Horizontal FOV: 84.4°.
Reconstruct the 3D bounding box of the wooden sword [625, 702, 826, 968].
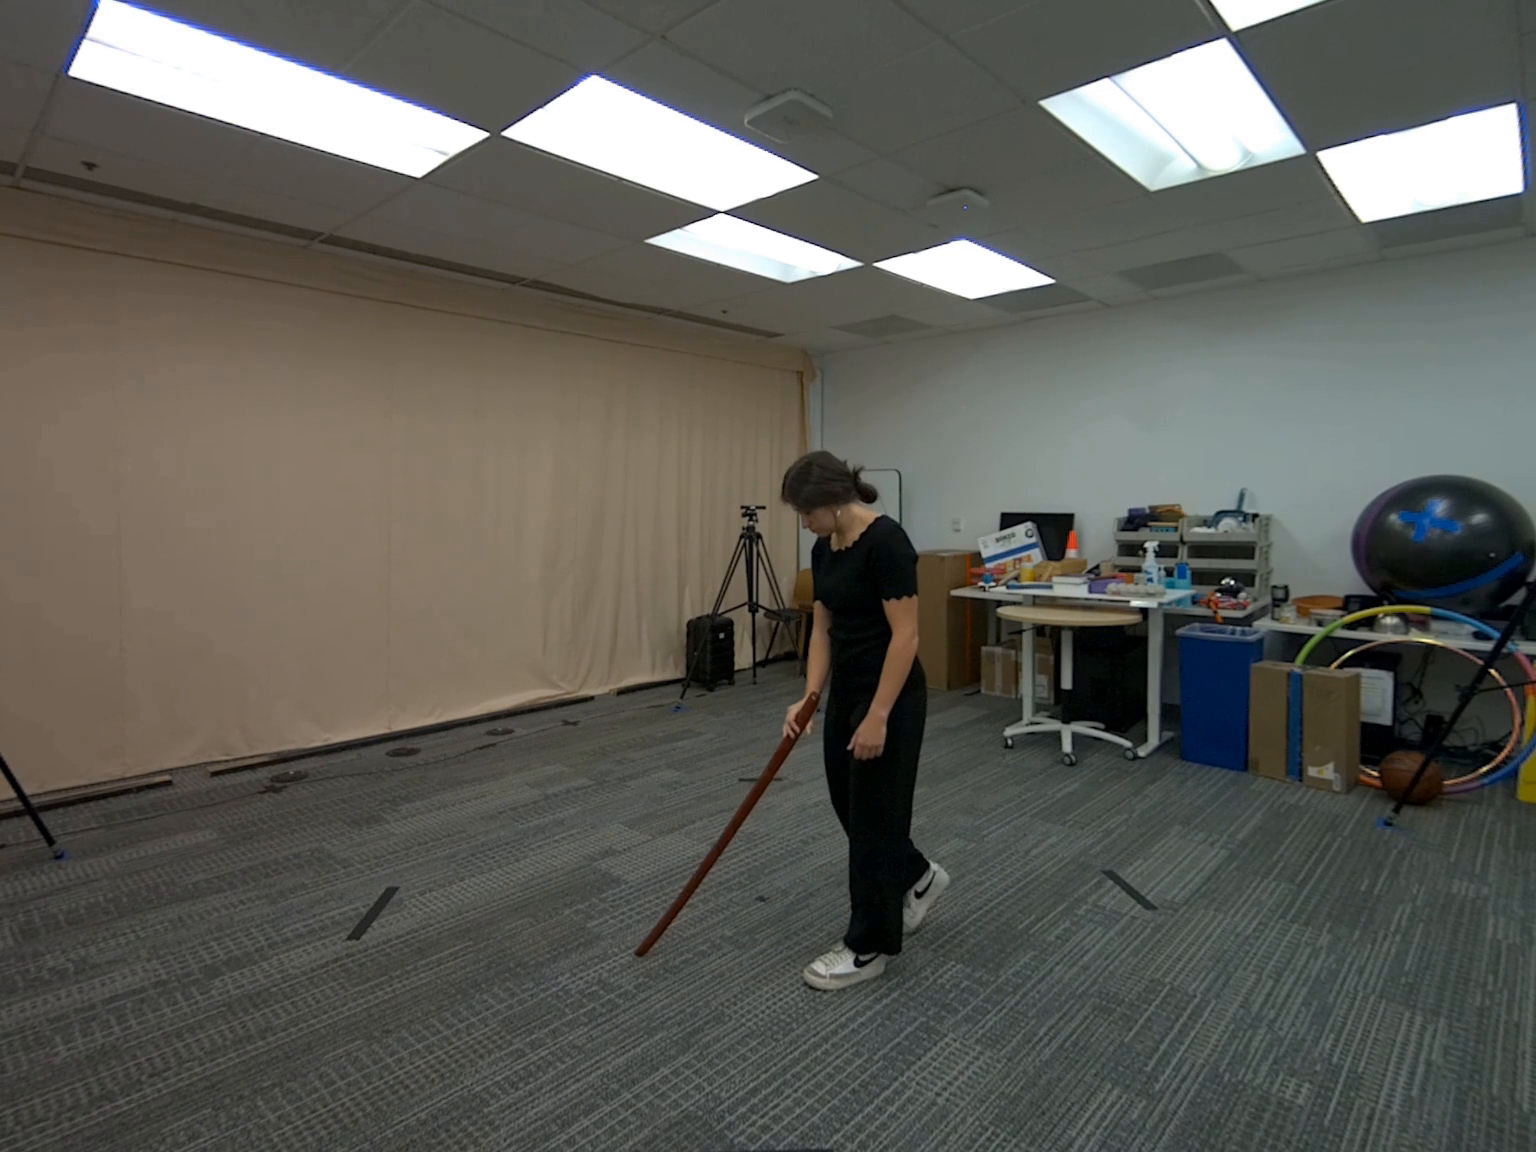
[{"bbox_3d":[-0.124,0.780,2.500,0.049,1.026,0.025,26,15,-39],"label":"wooden sword"}]
